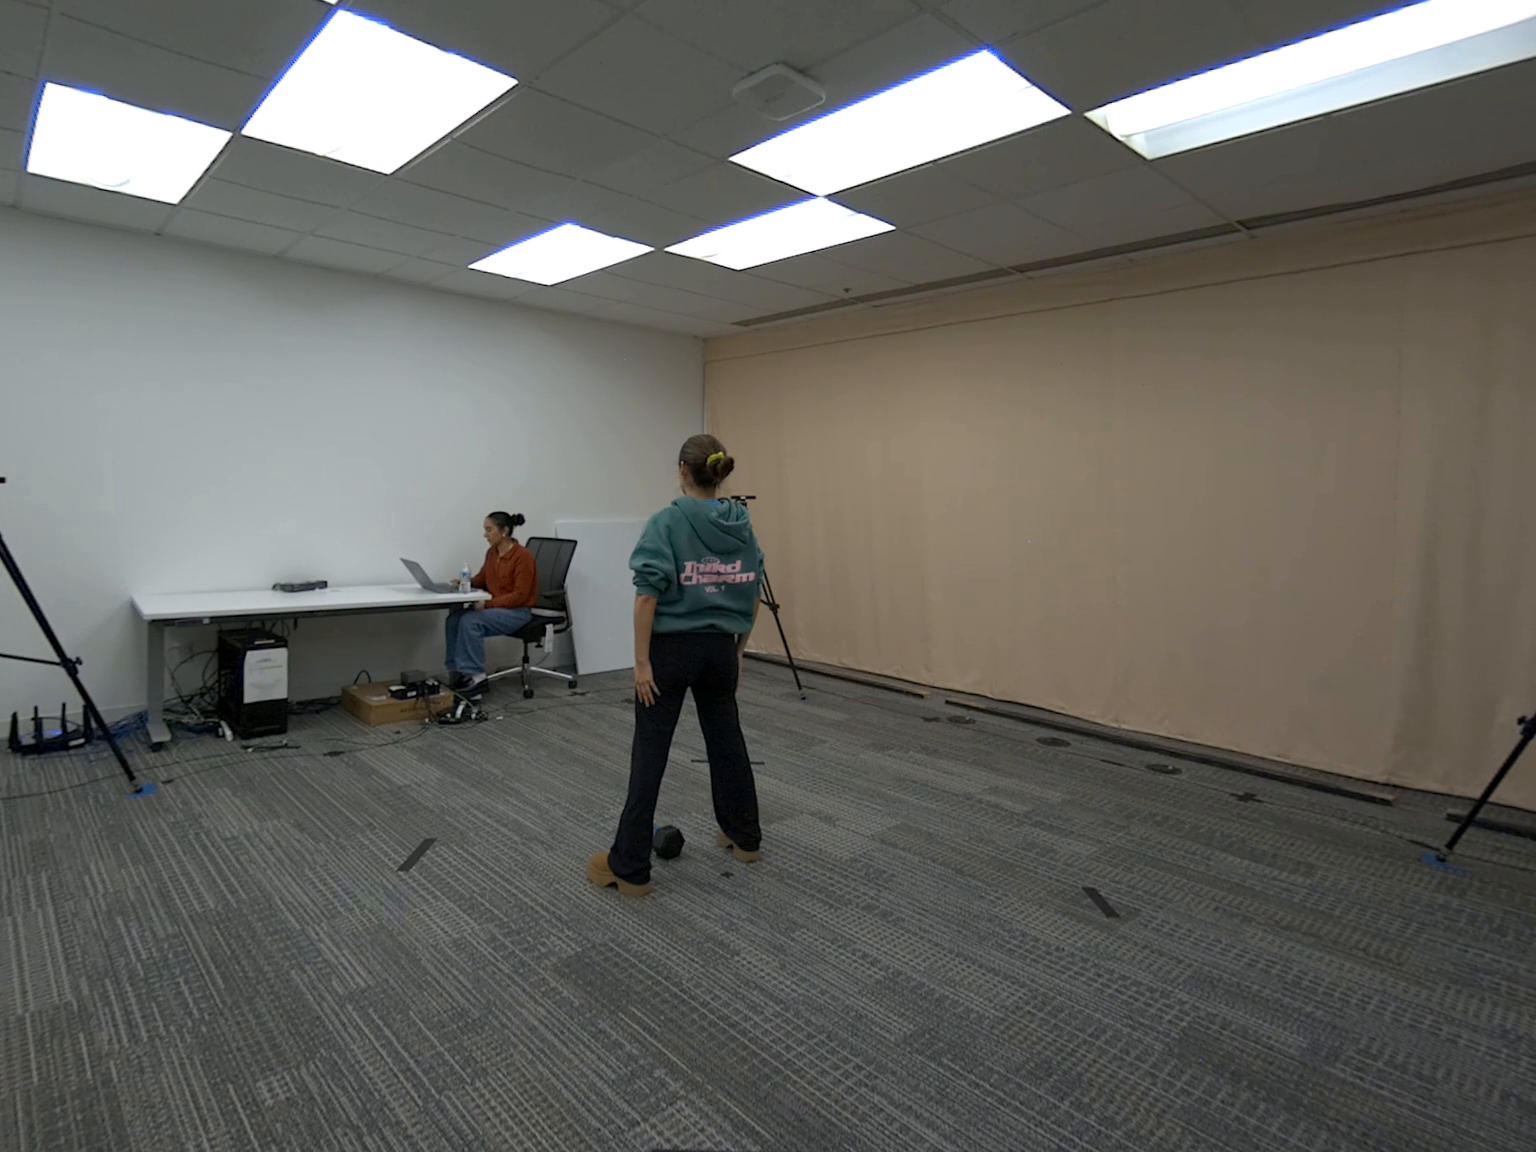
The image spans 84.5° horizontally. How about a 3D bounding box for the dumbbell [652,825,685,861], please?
[{"bbox_3d":[-0.466,1.018,3.329,0.120,0.108,0.301,-6,9,-43],"label":"dumbbell"}]
